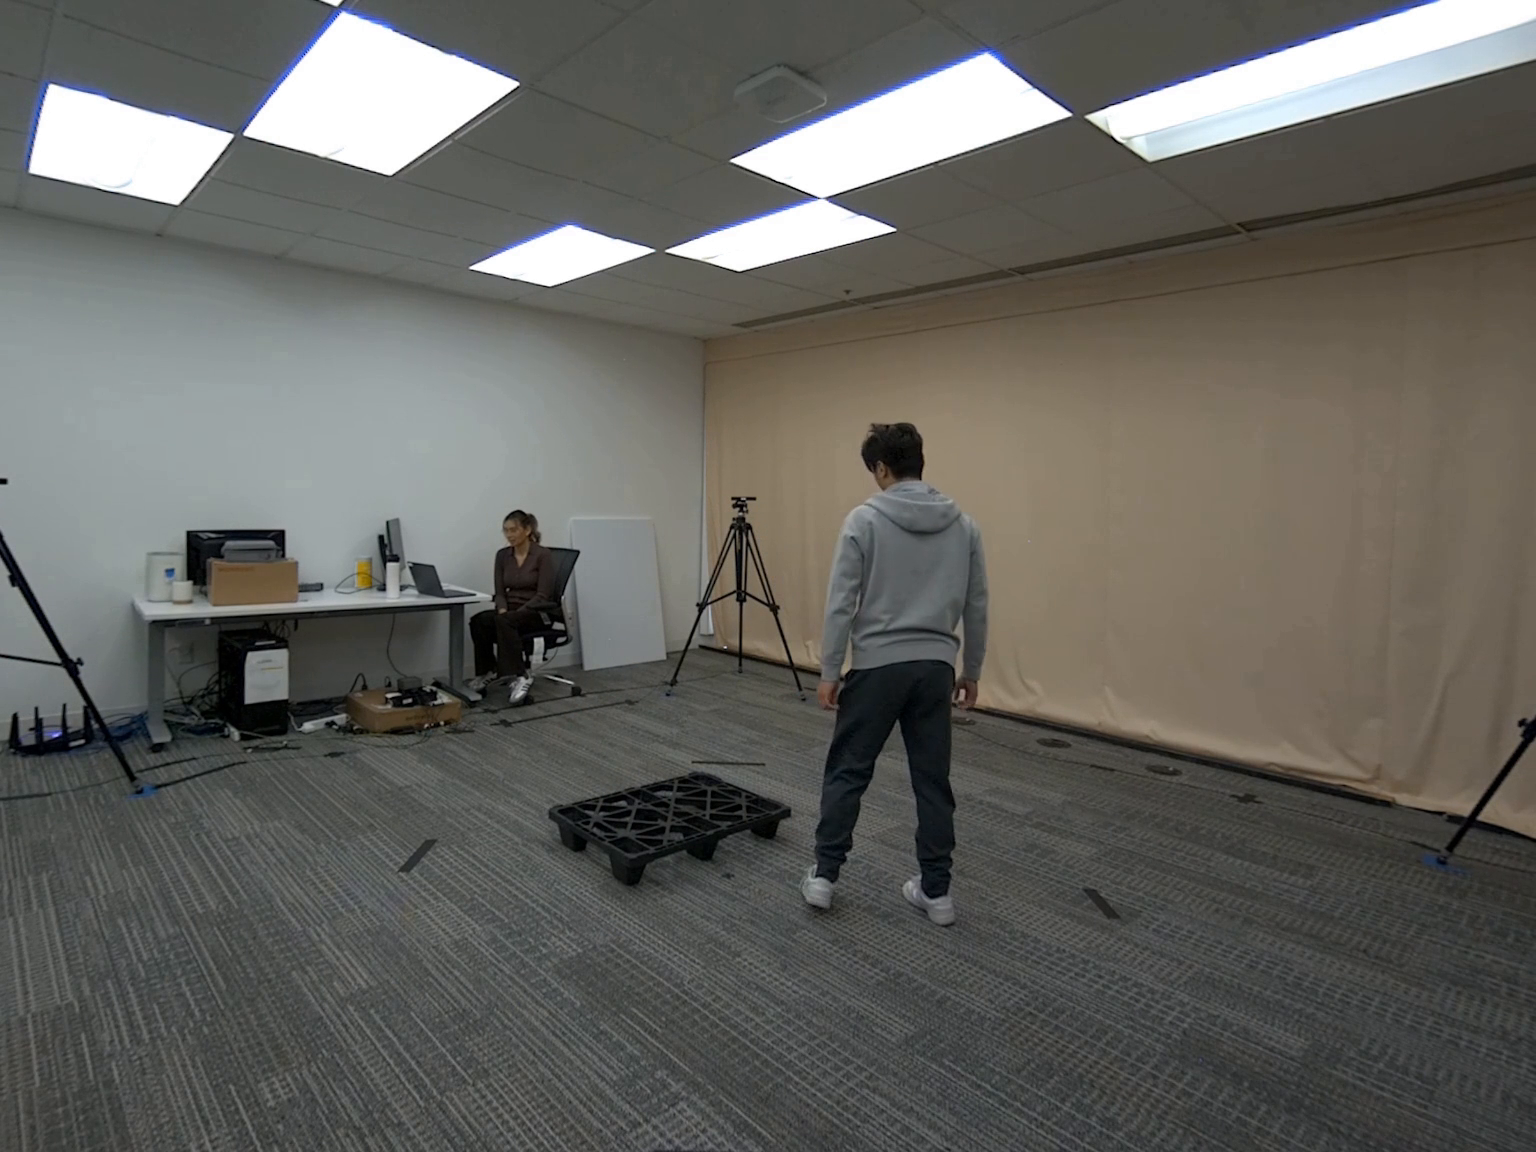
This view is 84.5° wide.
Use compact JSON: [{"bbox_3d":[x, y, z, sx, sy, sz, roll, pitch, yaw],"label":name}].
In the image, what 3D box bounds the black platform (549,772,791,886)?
[{"bbox_3d":[-0.393,1.008,3.410,0.787,0.143,0.621,-3,7,-42],"label":"black platform"}]
